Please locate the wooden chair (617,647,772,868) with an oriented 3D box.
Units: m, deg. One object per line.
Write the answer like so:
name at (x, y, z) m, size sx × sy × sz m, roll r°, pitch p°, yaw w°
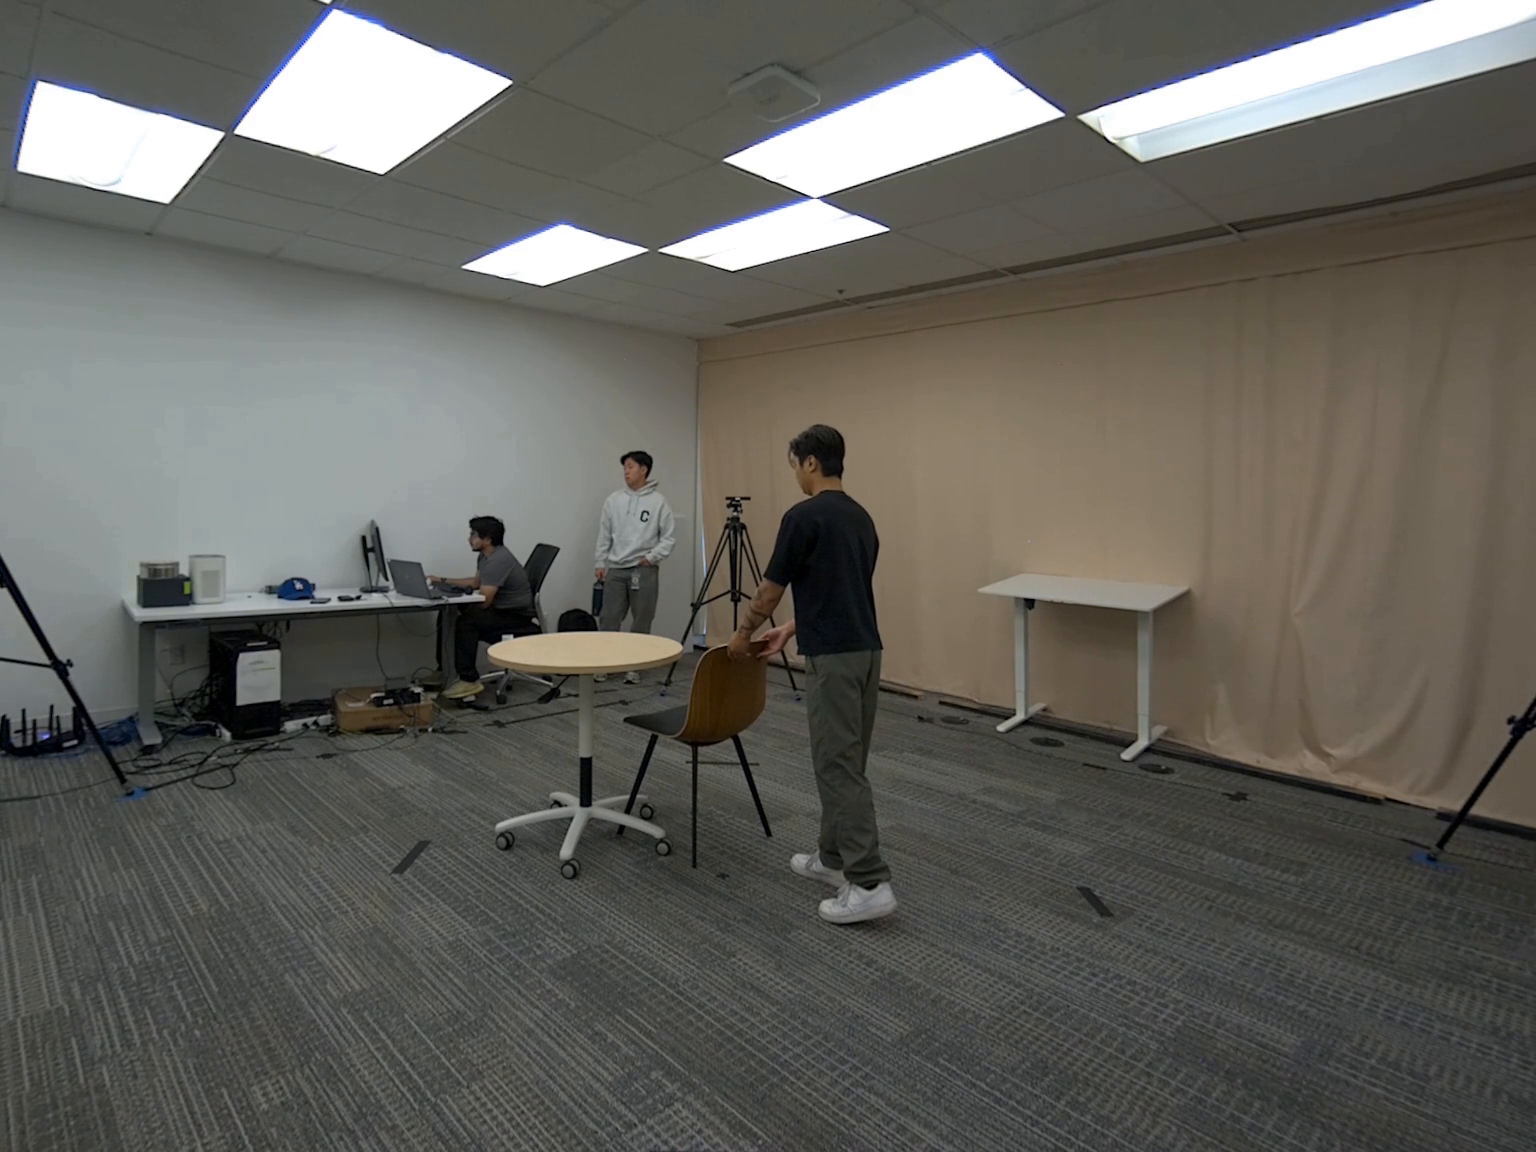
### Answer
wooden chair at (-0.301, 0.643, 3.444) m, size 0.537 × 0.874 × 0.467 m, roll 11°, pitch 8°, yaw 41°
